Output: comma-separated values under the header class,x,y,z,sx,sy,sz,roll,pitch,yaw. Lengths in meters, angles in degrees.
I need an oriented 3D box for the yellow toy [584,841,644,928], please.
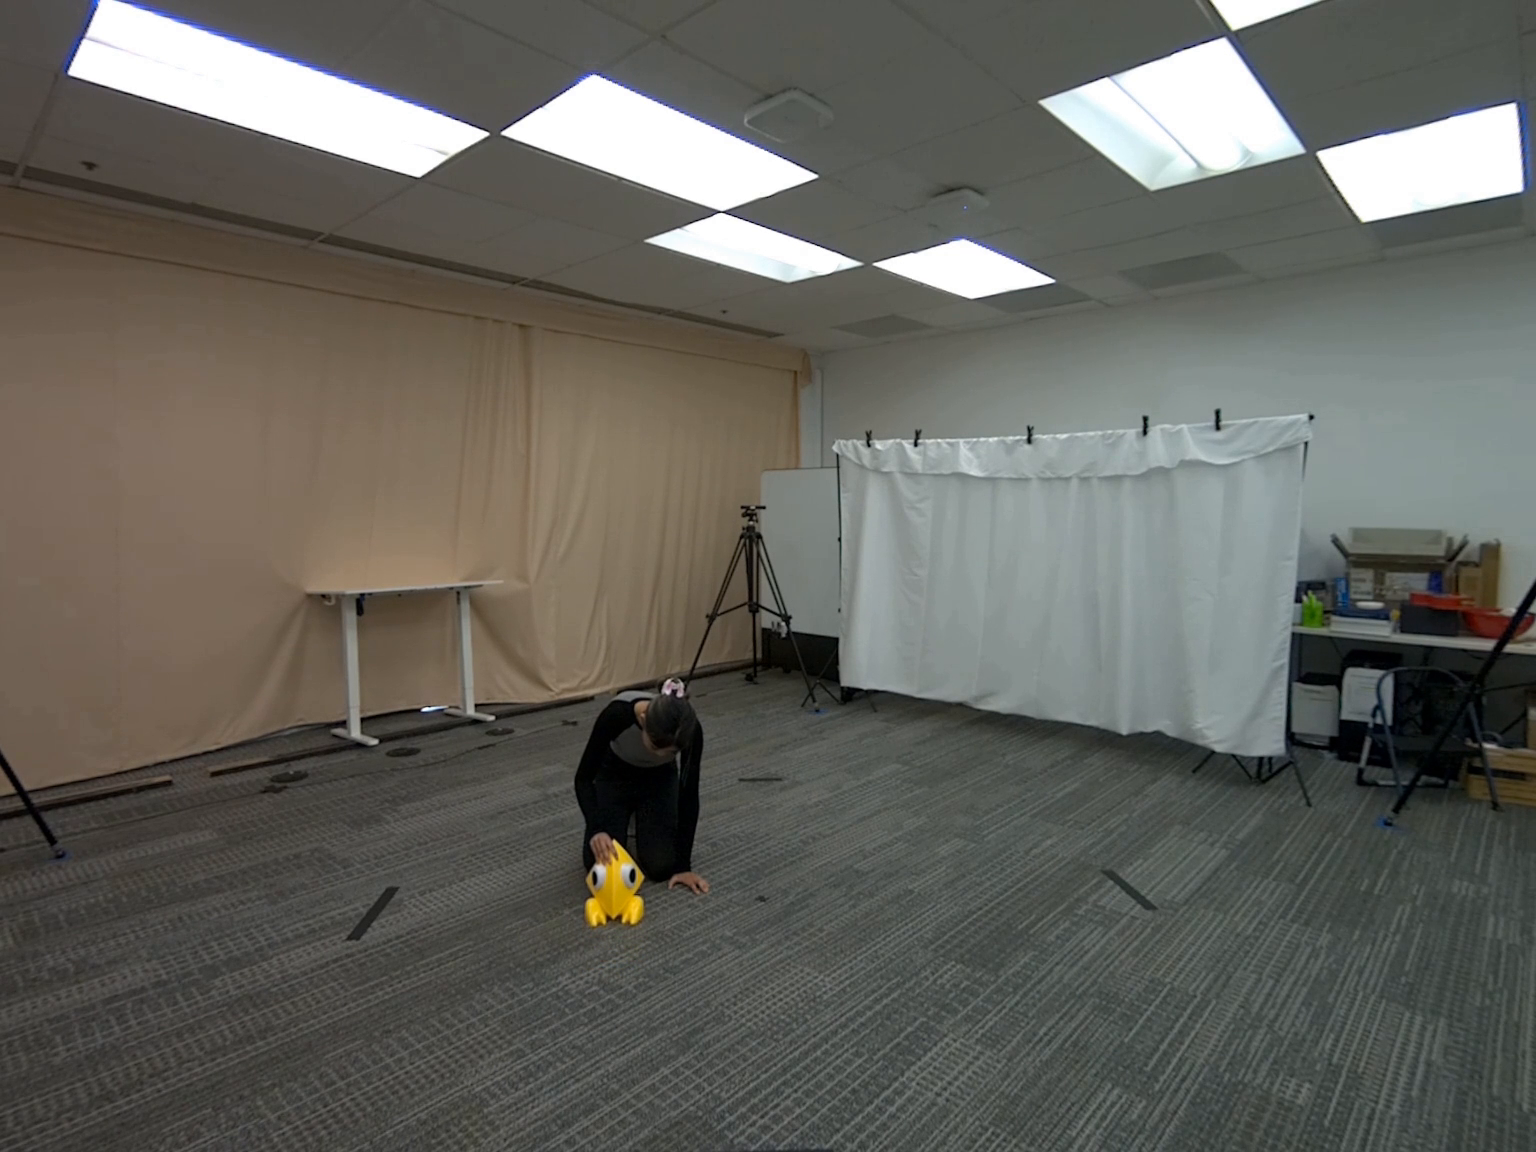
class,x,y,z,sx,sy,sz,roll,pitch,yaw
yellow toy,-0.526,1.036,2.889,0.204,0.230,0.194,-1,3,-6
